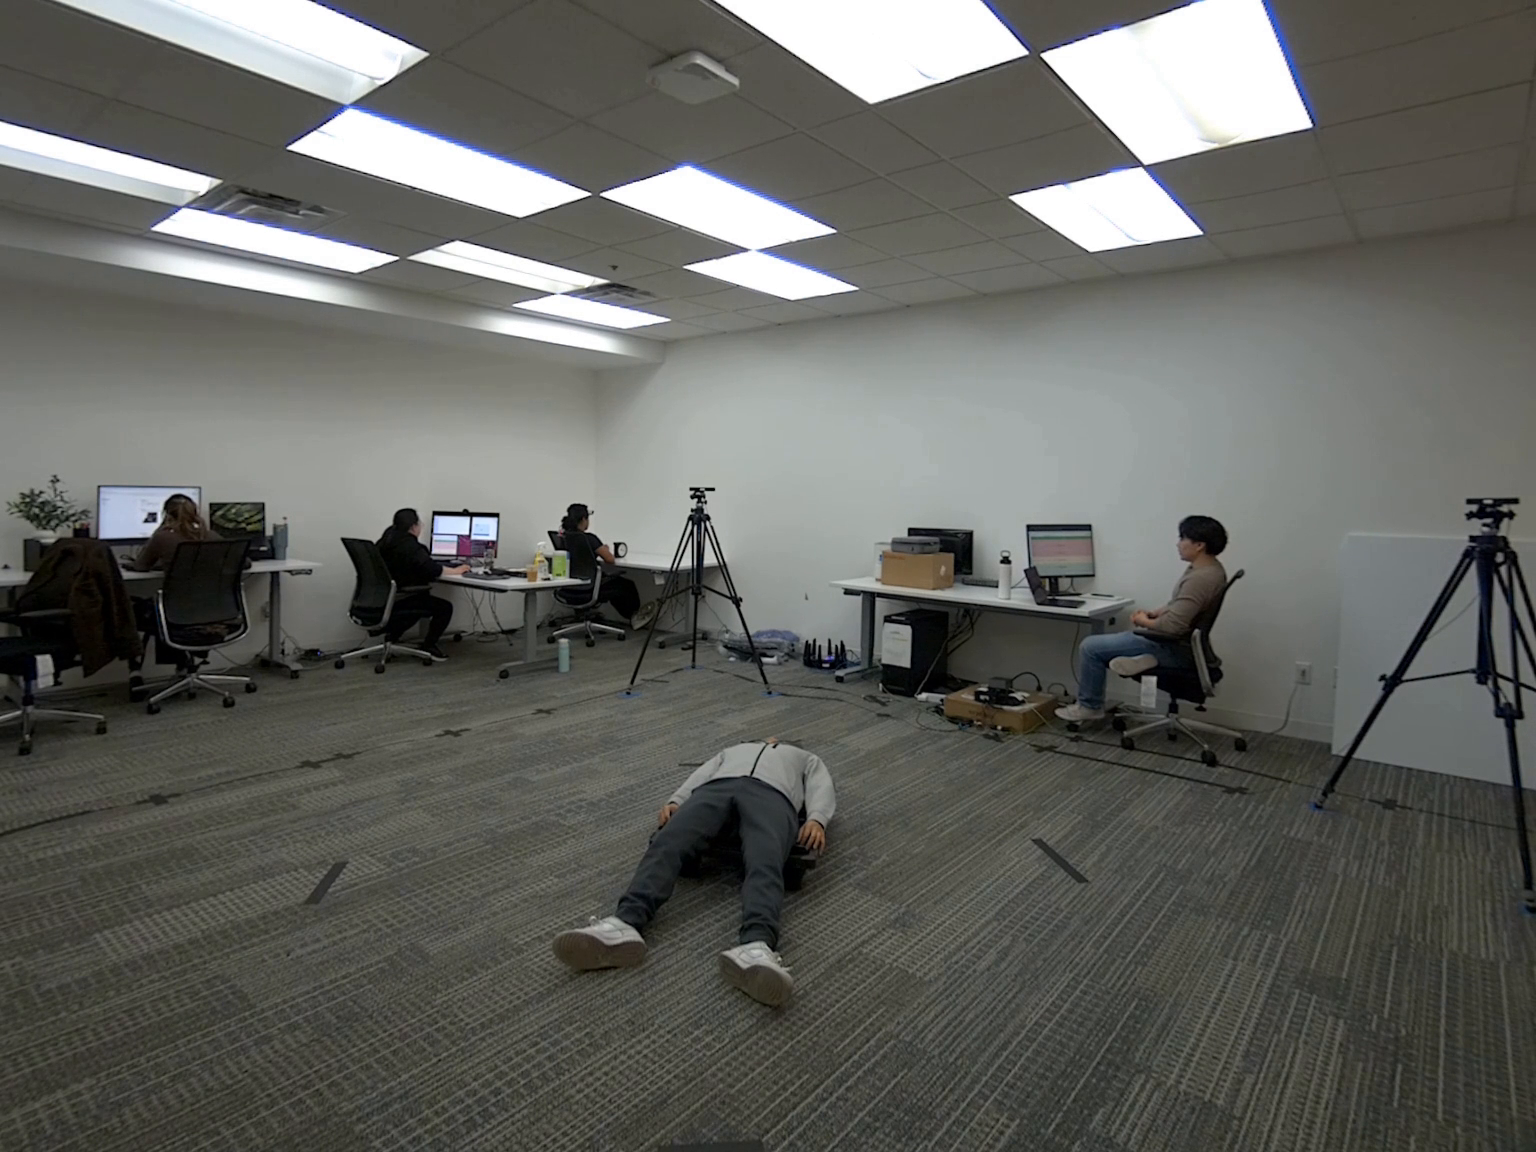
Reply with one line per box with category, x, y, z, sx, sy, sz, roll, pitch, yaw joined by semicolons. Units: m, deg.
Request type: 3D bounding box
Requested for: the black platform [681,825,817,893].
black platform;-0.079;0.962;3.352;0.614;0.143;0.795;-1;4;13
